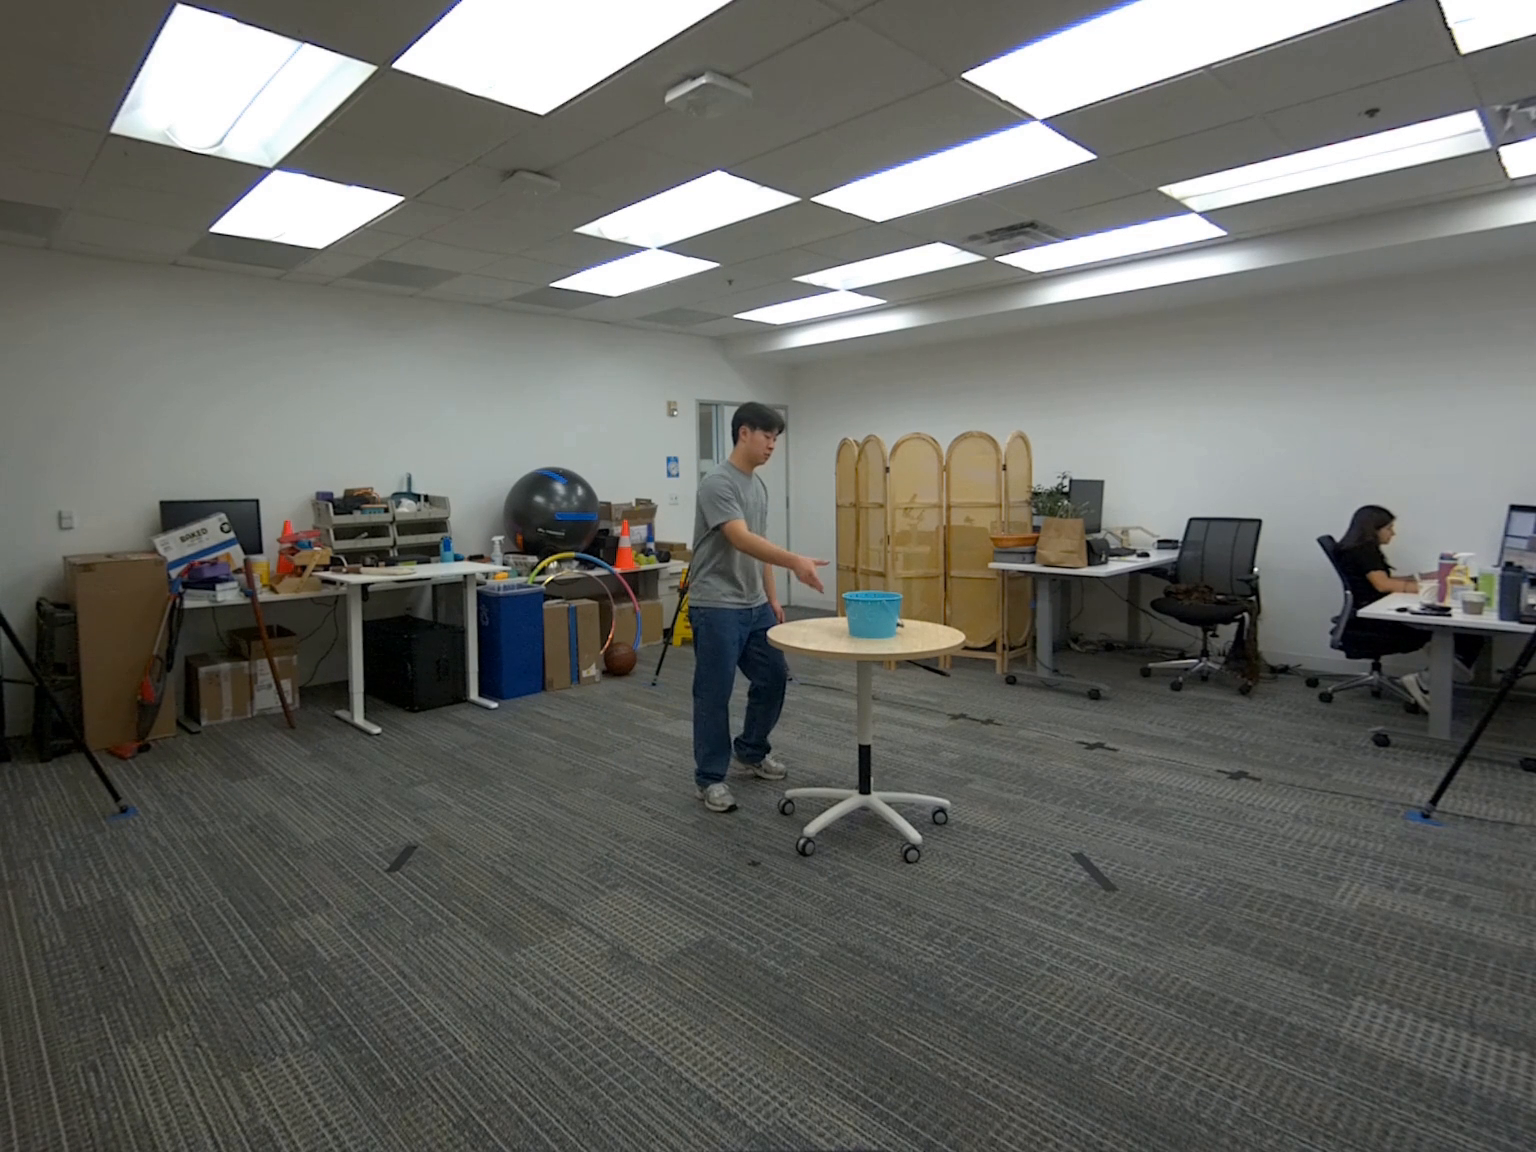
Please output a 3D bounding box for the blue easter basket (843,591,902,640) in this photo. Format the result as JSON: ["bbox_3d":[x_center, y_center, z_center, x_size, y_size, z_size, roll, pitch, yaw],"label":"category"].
[{"bbox_3d":[0.415,0.154,3.337,0.243,0.155,0.245,-1,6,-2],"label":"blue easter basket"}]
